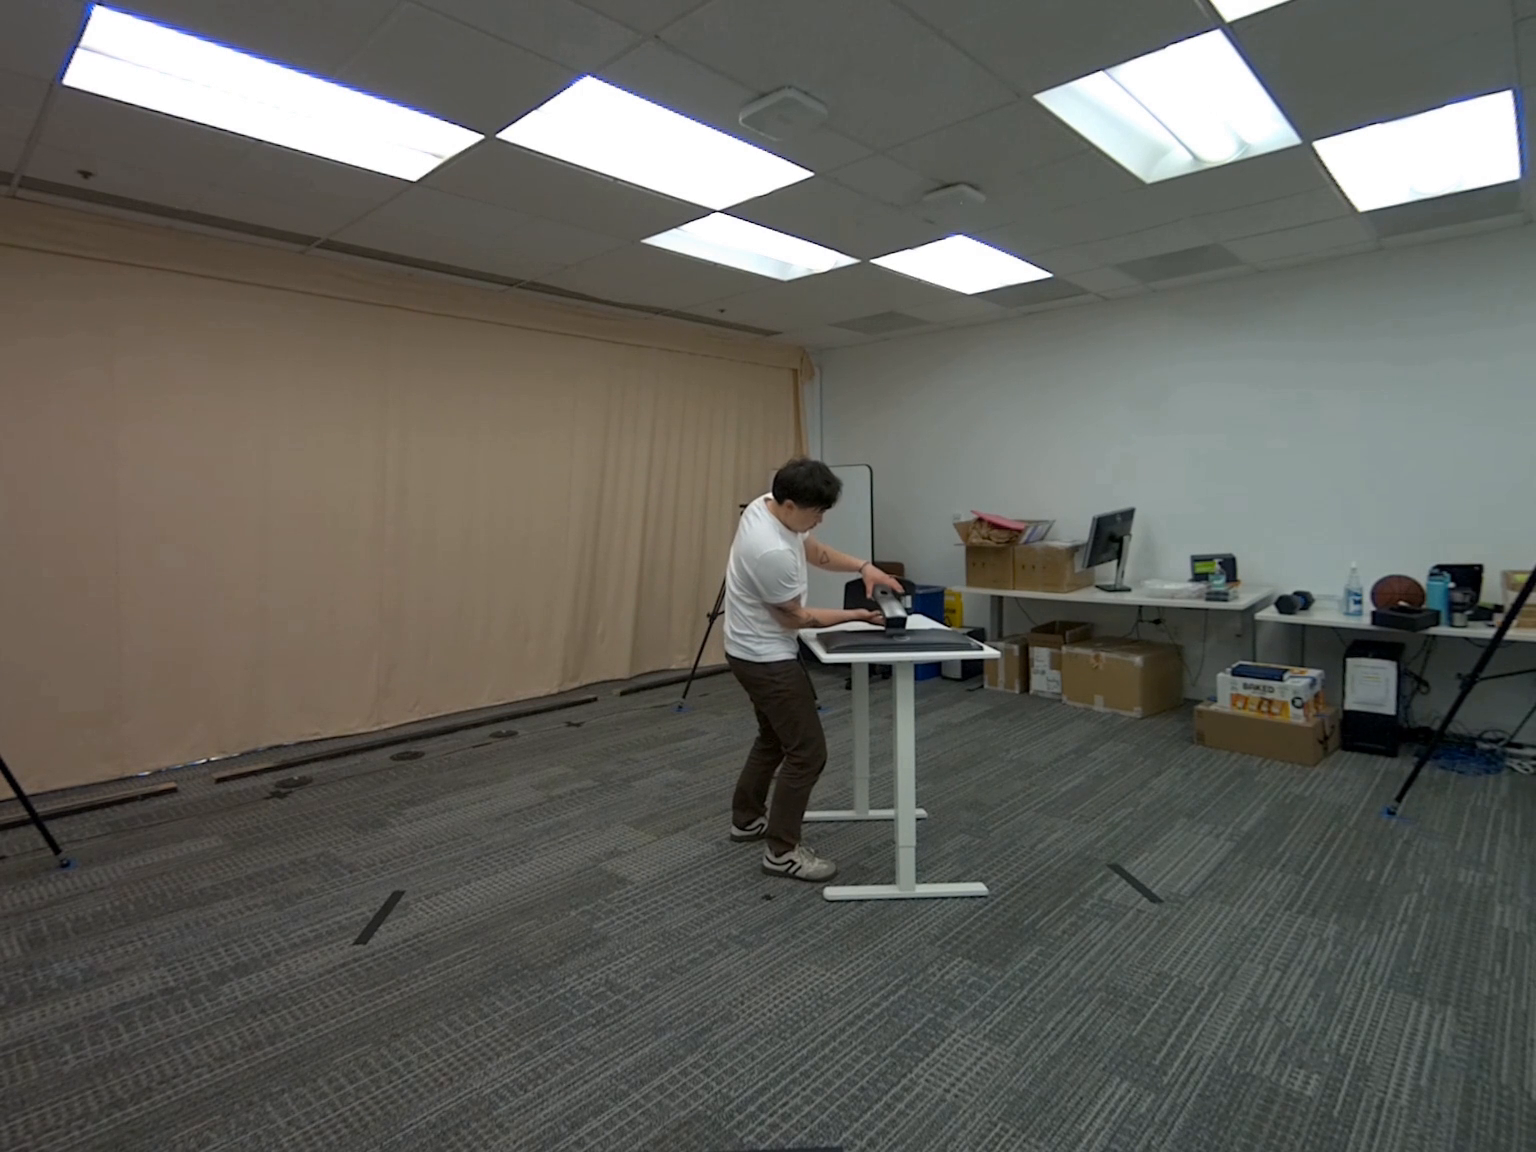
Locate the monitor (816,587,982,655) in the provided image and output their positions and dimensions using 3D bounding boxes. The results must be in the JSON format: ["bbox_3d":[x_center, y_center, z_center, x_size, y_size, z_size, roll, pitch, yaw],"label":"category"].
[{"bbox_3d":[0.462,0.178,3.103,0.539,0.184,0.530,-3,22,-1],"label":"monitor"}]
